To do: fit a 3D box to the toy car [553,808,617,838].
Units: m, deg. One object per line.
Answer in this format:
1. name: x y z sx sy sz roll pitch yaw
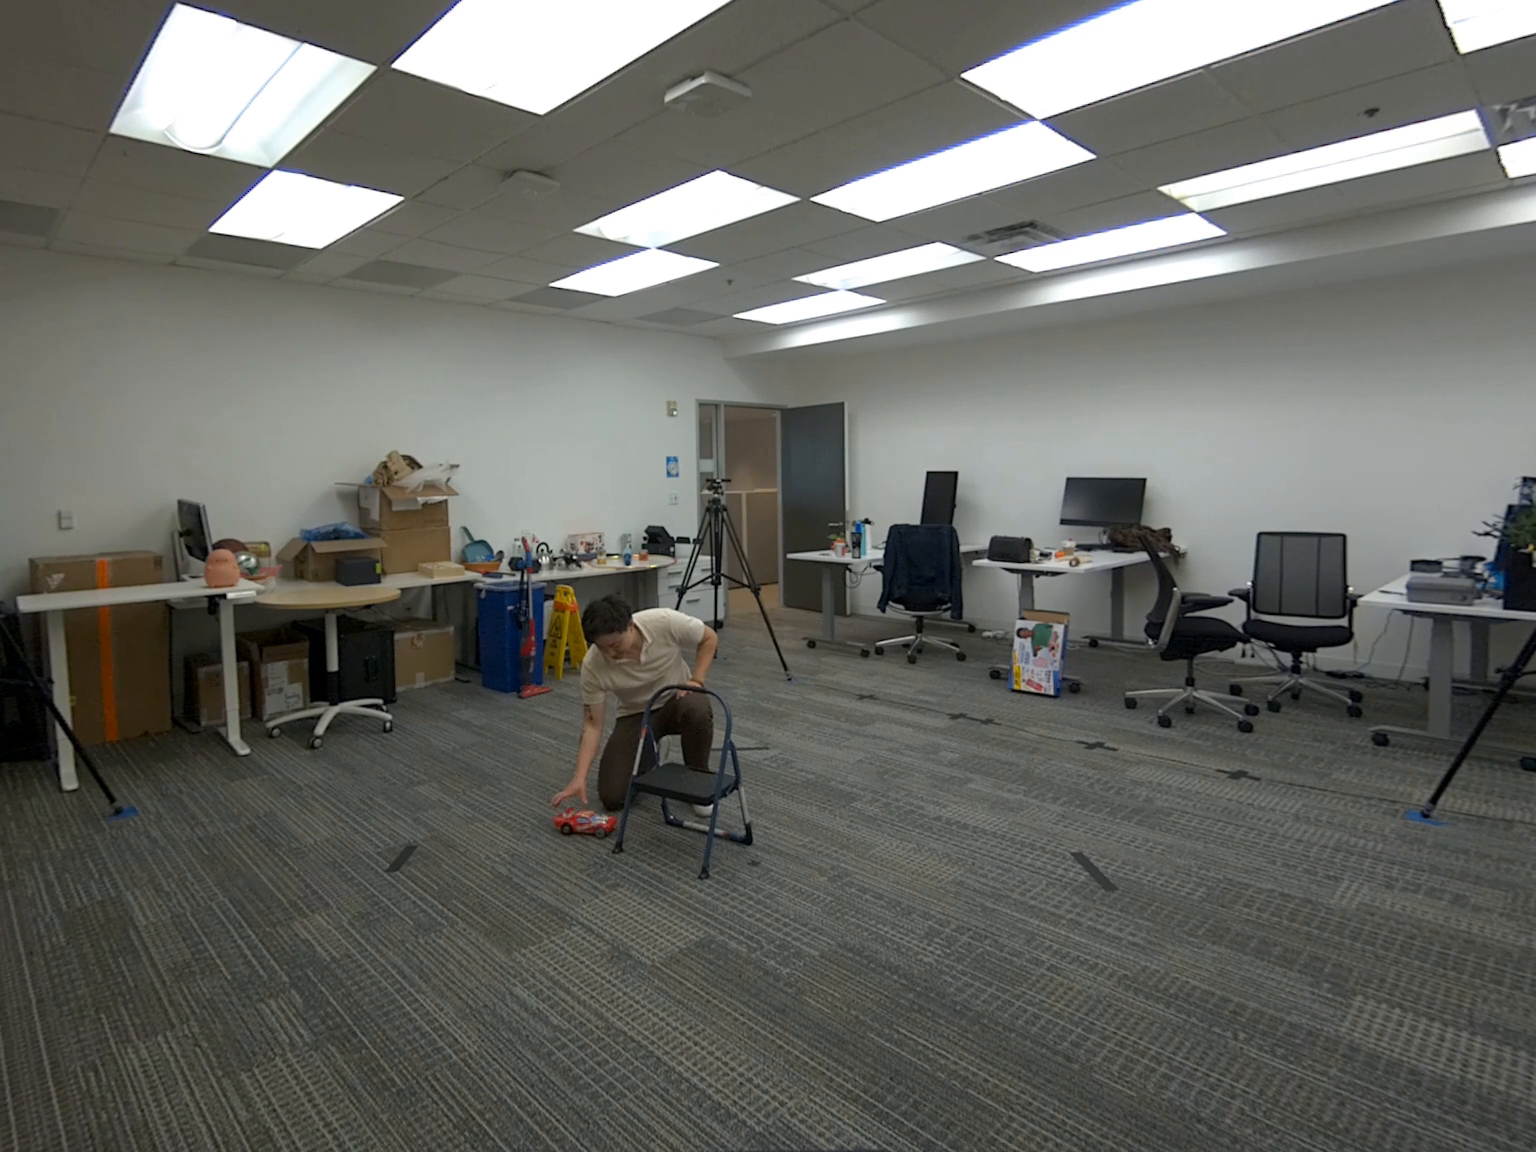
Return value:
1. toy car: -0.741 0.996 3.429 0.258 0.082 0.129 11 10 13
